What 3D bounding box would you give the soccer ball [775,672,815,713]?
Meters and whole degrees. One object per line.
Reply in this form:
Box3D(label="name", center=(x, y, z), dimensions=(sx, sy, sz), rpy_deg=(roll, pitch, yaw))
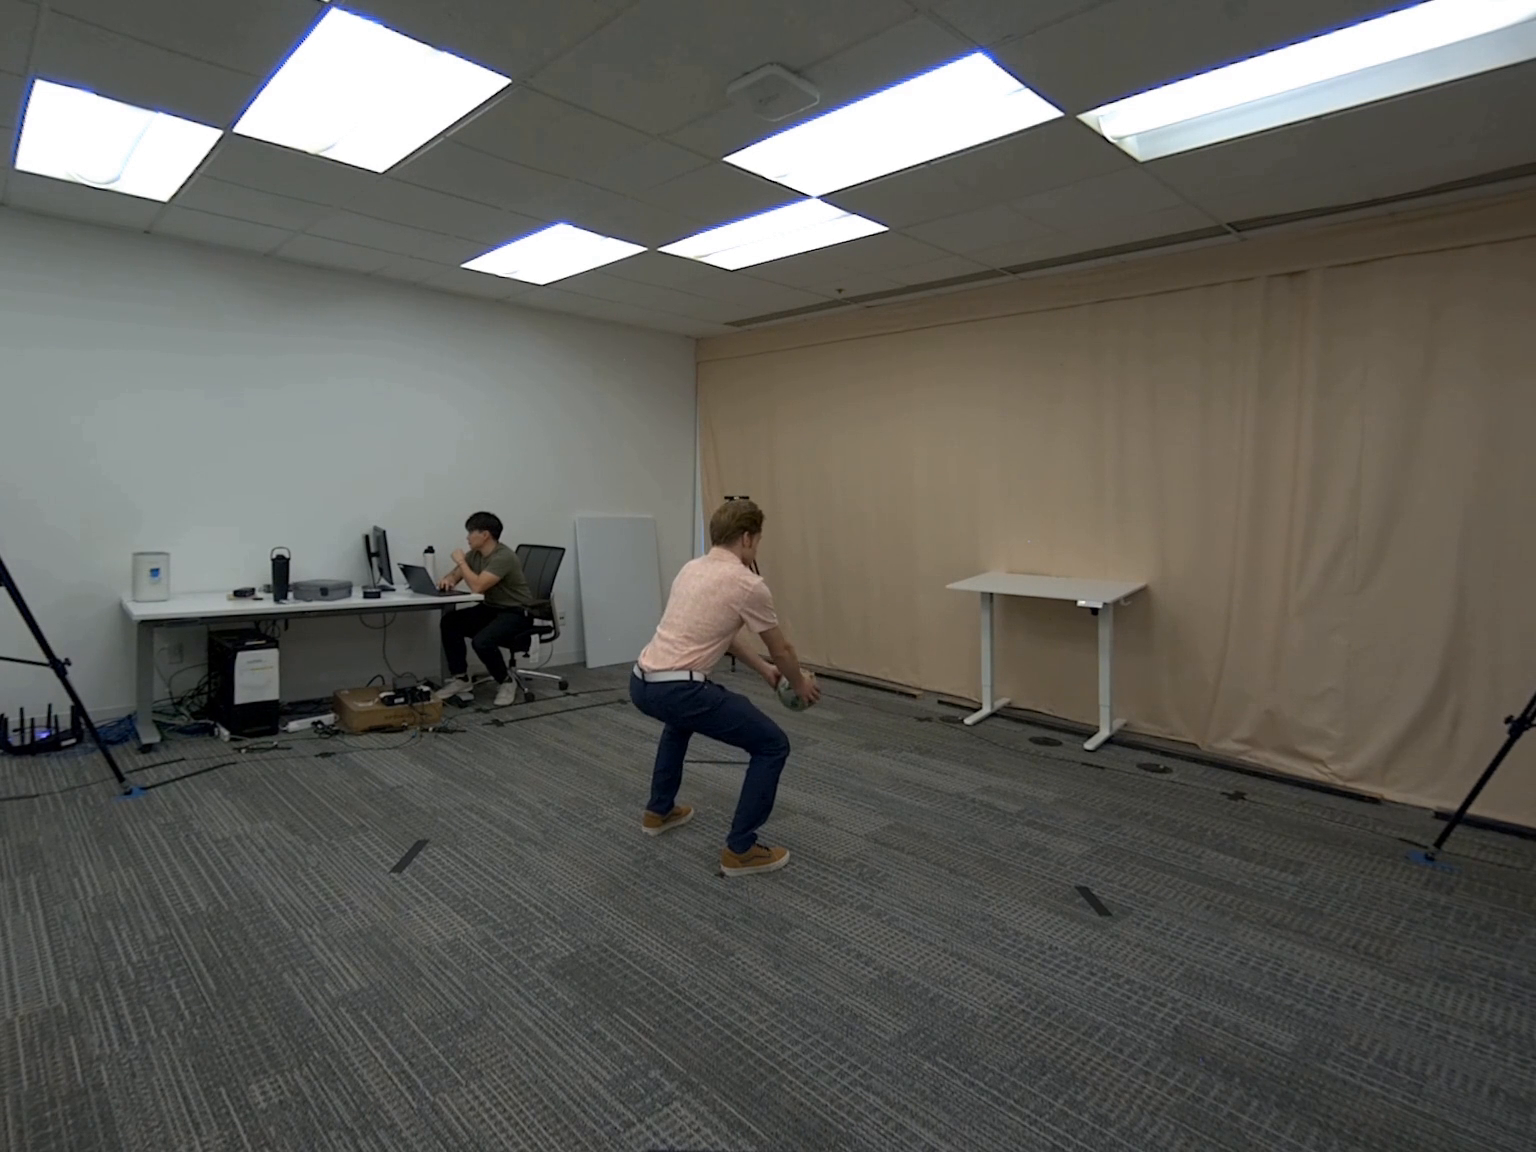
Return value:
Box3D(label="soccer ball", center=(0.121, 0.501, 3.669), dimensions=(0.187, 0.187, 0.188), rpy_deg=(1, 4, -1))
